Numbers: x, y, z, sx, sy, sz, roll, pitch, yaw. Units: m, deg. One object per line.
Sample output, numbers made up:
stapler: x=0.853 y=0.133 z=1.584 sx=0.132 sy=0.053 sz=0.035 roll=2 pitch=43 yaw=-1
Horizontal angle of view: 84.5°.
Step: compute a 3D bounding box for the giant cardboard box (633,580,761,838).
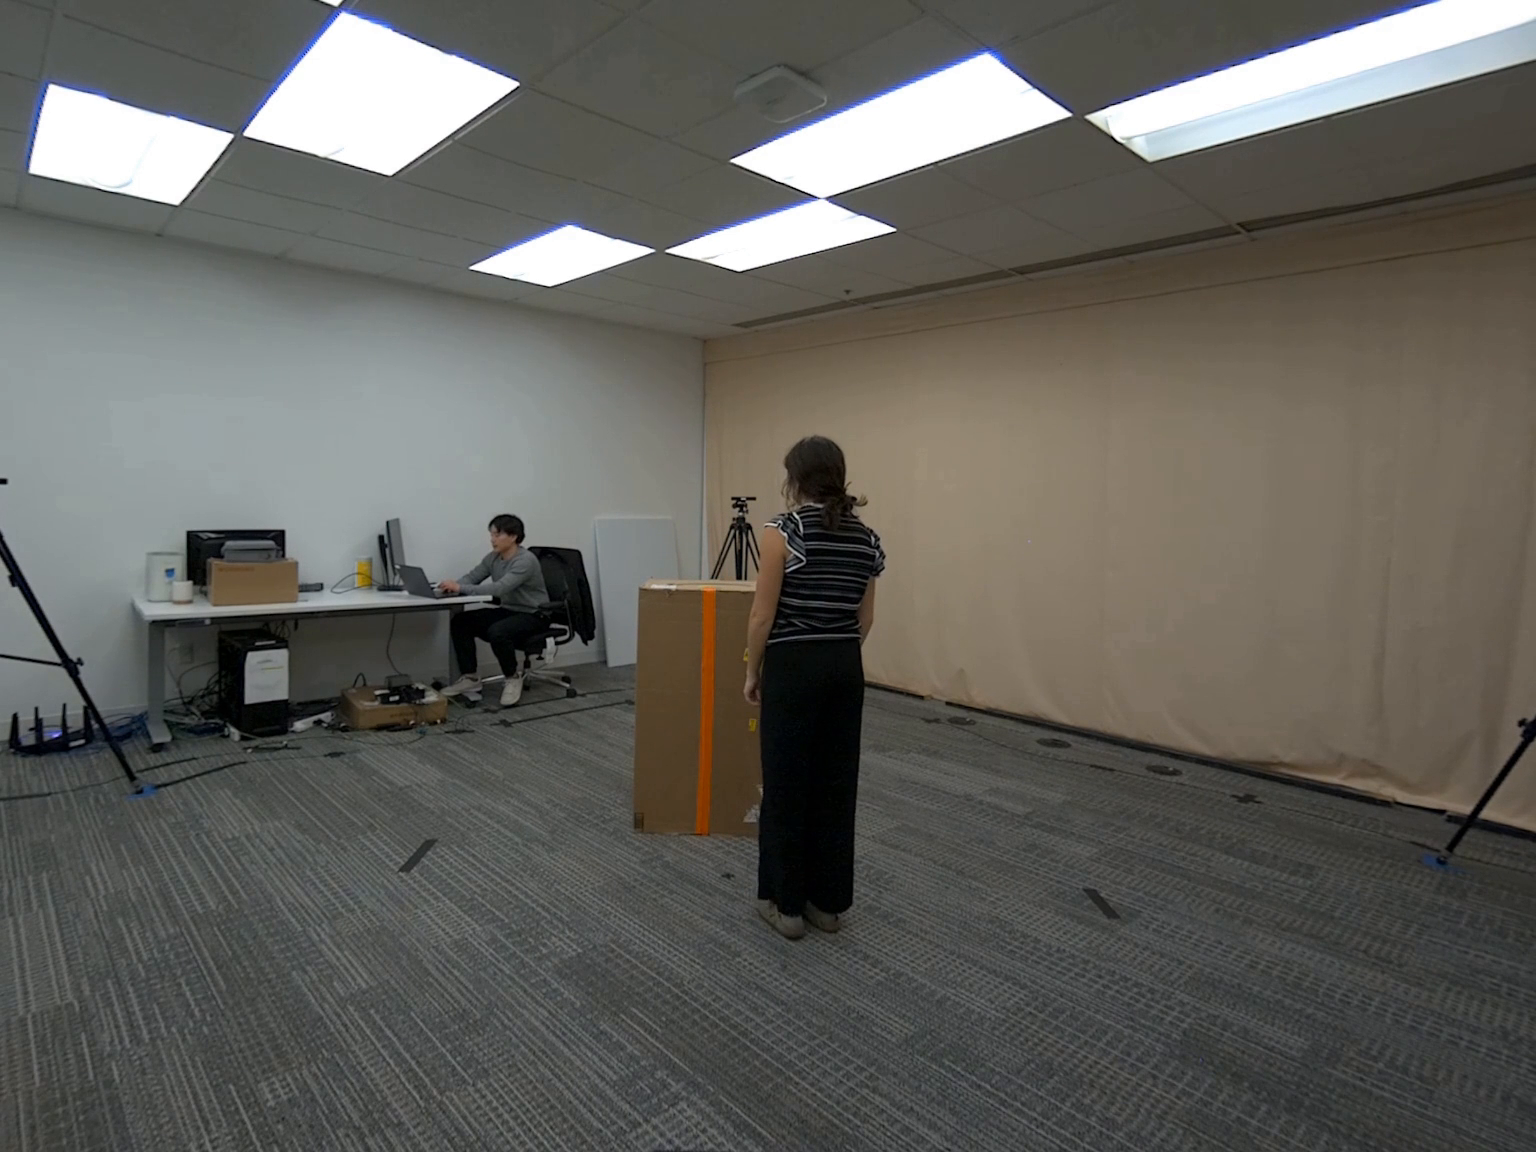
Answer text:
giant cardboard box: x=-0.276 y=0.547 z=3.663 sx=0.578 sy=1.024 sz=0.427 roll=2 pitch=3 yaw=0
